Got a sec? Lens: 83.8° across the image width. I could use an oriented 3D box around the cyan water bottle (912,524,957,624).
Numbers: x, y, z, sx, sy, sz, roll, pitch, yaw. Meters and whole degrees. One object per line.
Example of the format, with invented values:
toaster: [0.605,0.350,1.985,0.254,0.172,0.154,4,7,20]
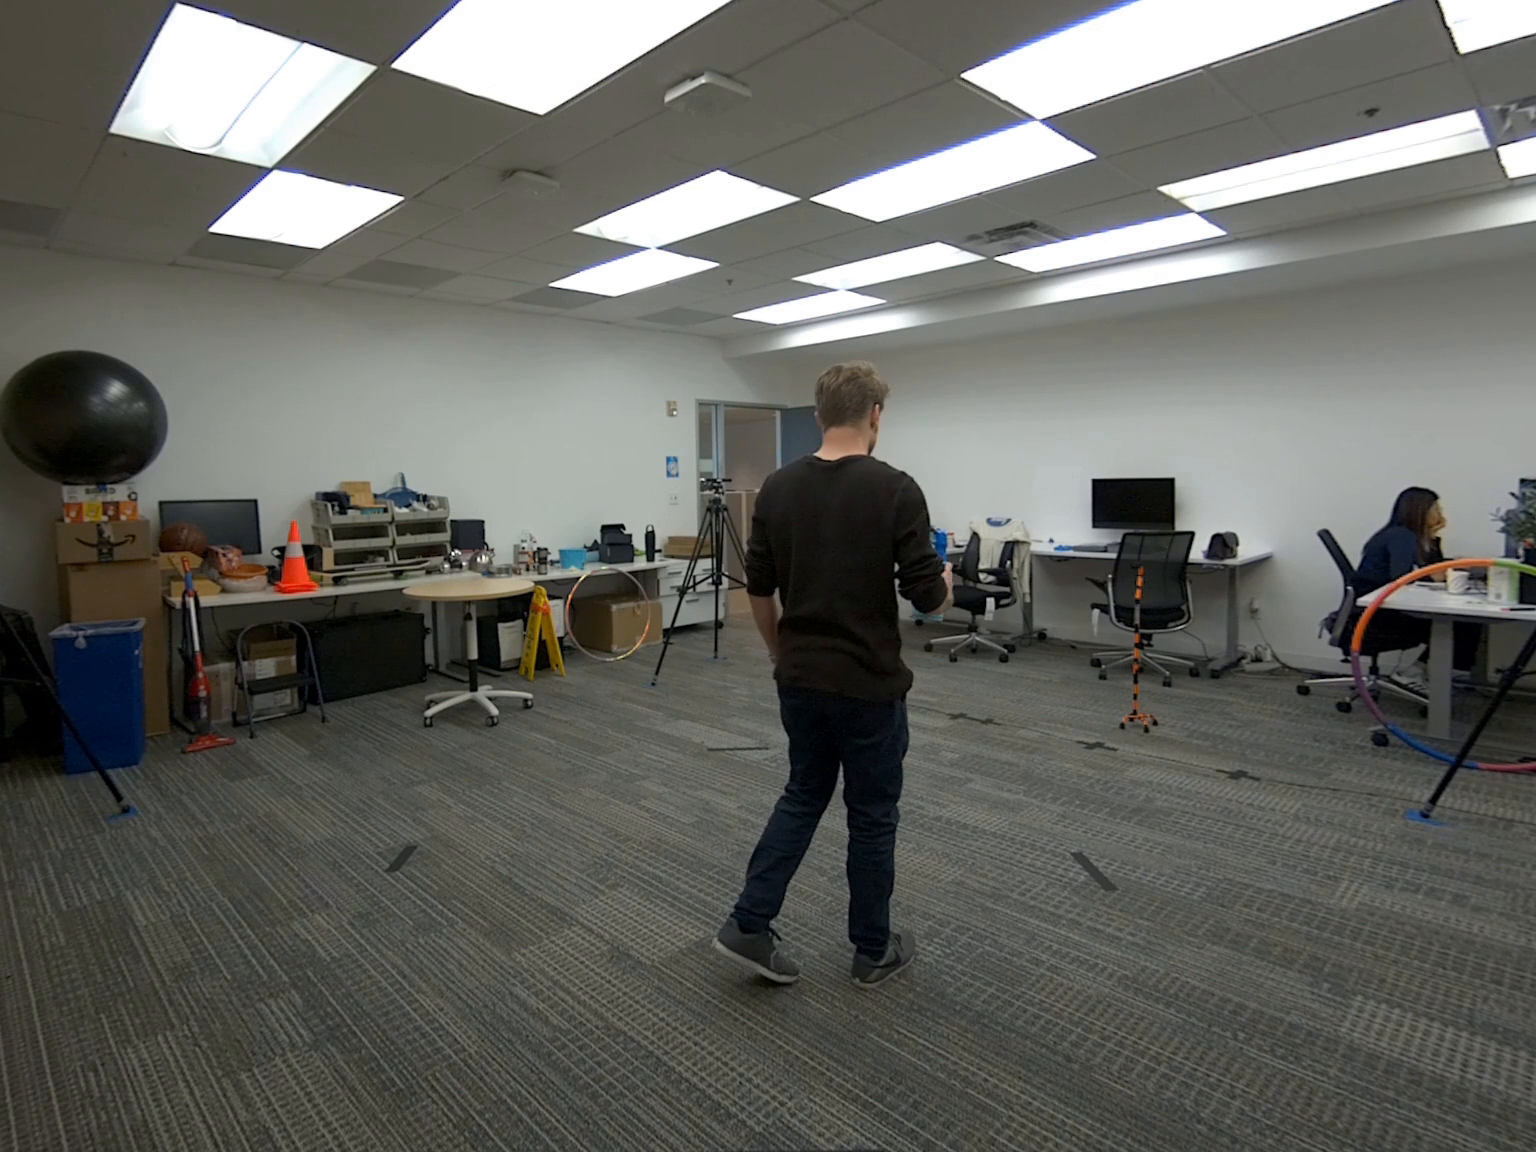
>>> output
cyan water bottle: [0.489,-0.008,2.532,0.092,0.284,0.092,4,-4,-1]
